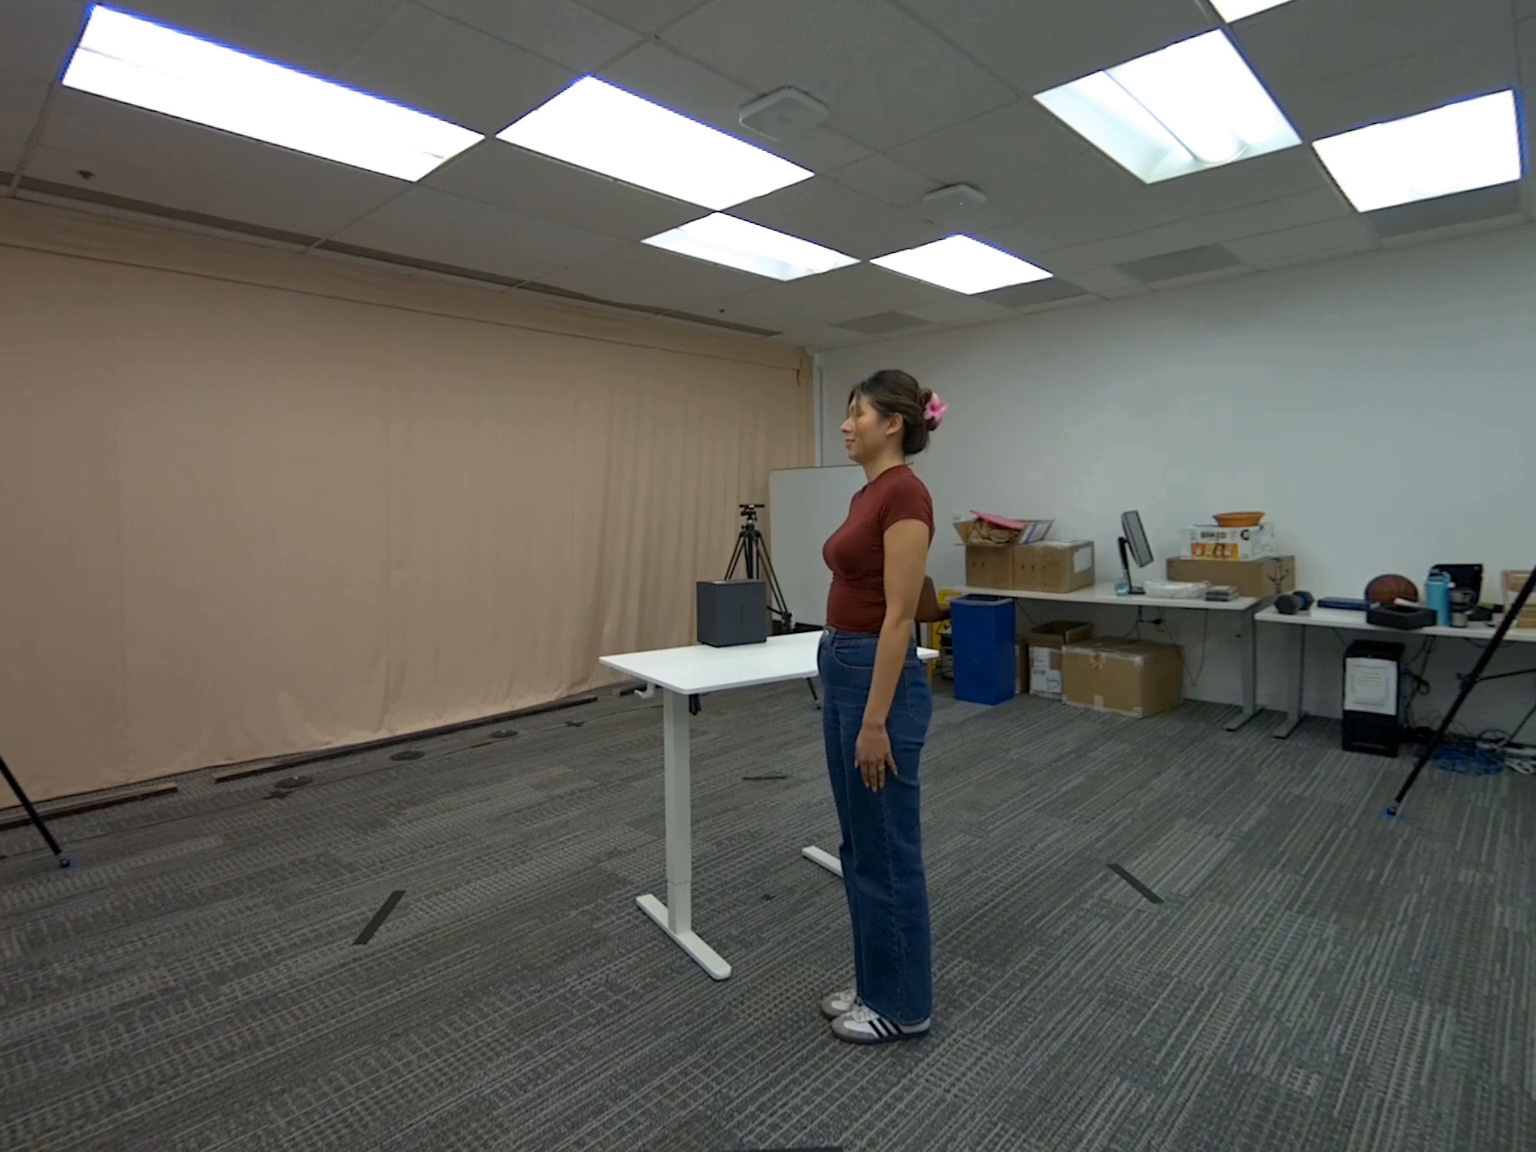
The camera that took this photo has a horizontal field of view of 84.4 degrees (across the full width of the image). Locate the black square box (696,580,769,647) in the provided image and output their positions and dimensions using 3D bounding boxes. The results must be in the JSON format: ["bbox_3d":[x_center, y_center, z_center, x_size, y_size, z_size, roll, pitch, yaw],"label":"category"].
[{"bbox_3d":[-0.132,0.132,3.110,0.211,0.227,0.160,-3,5,-32],"label":"black square box"}]
